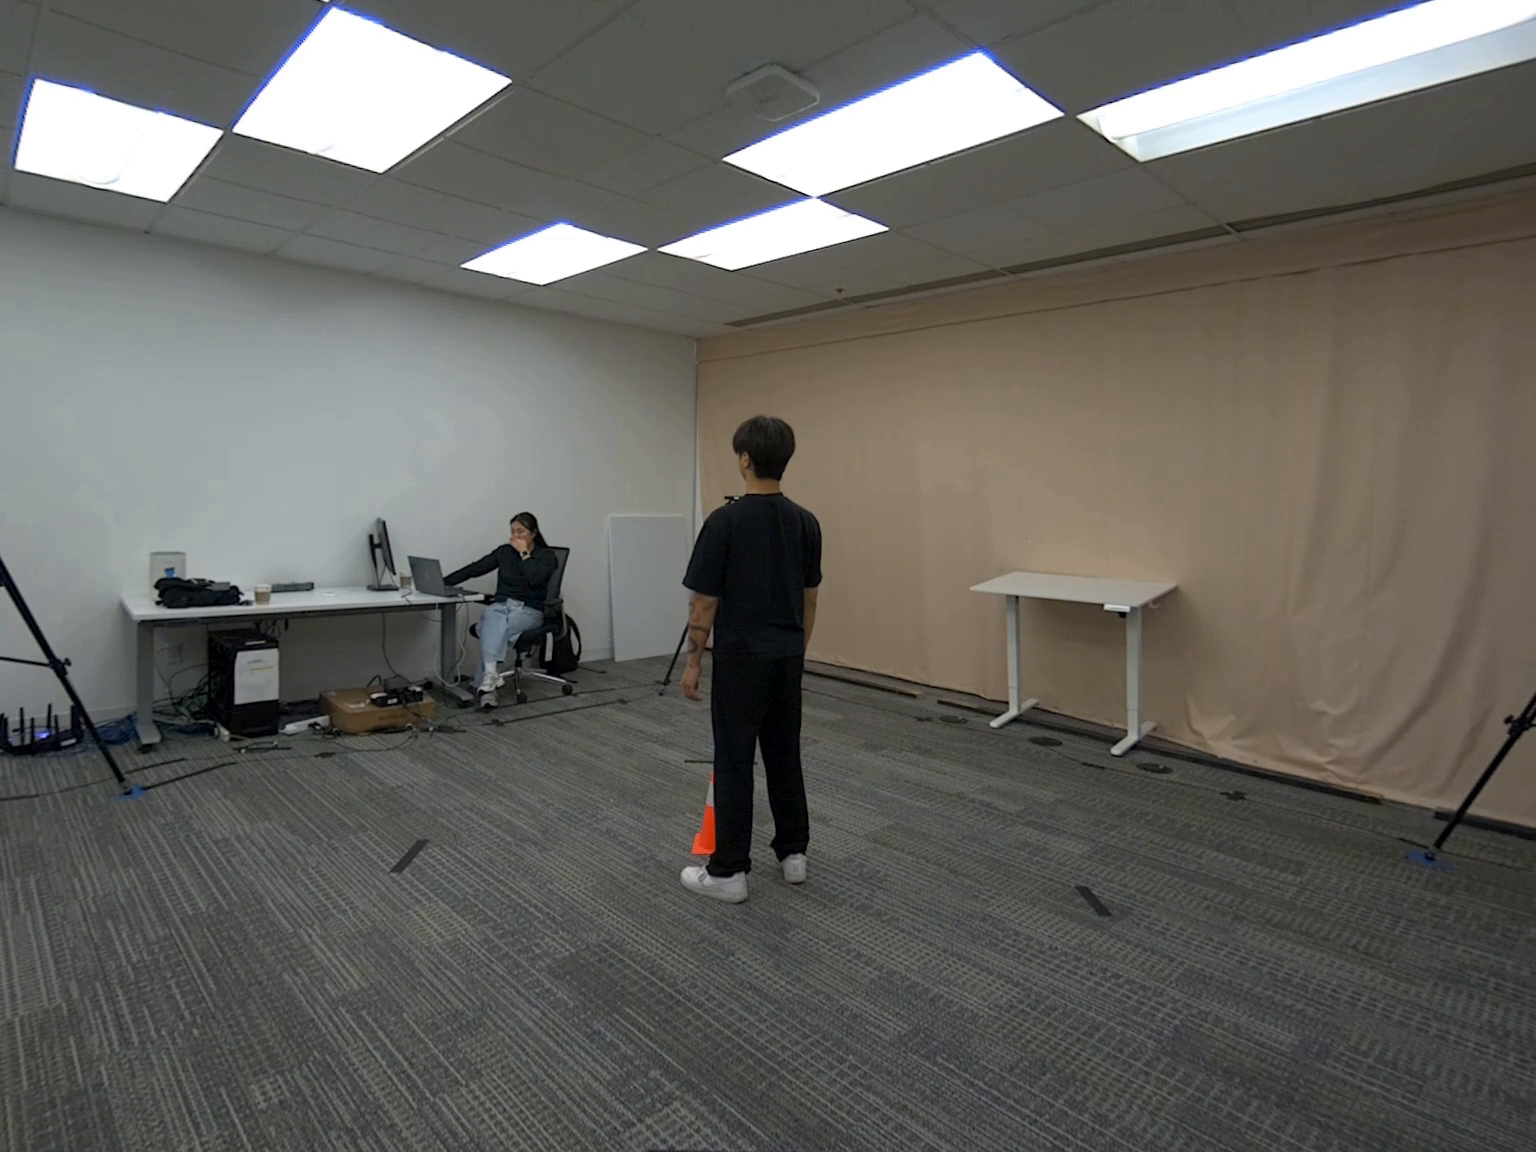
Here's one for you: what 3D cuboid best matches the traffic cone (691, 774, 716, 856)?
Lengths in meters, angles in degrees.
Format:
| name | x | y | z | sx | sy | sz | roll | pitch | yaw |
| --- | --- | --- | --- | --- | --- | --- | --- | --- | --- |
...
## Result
| name | x | y | z | sx | sy | sz | roll | pitch | yaw |
| --- | --- | --- | --- | --- | --- | --- | --- | --- | --- |
| traffic cone | -0.211 | 0.894 | 3.376 | 0.205 | 0.383 | 0.203 | -1 | 1 | 3 |
